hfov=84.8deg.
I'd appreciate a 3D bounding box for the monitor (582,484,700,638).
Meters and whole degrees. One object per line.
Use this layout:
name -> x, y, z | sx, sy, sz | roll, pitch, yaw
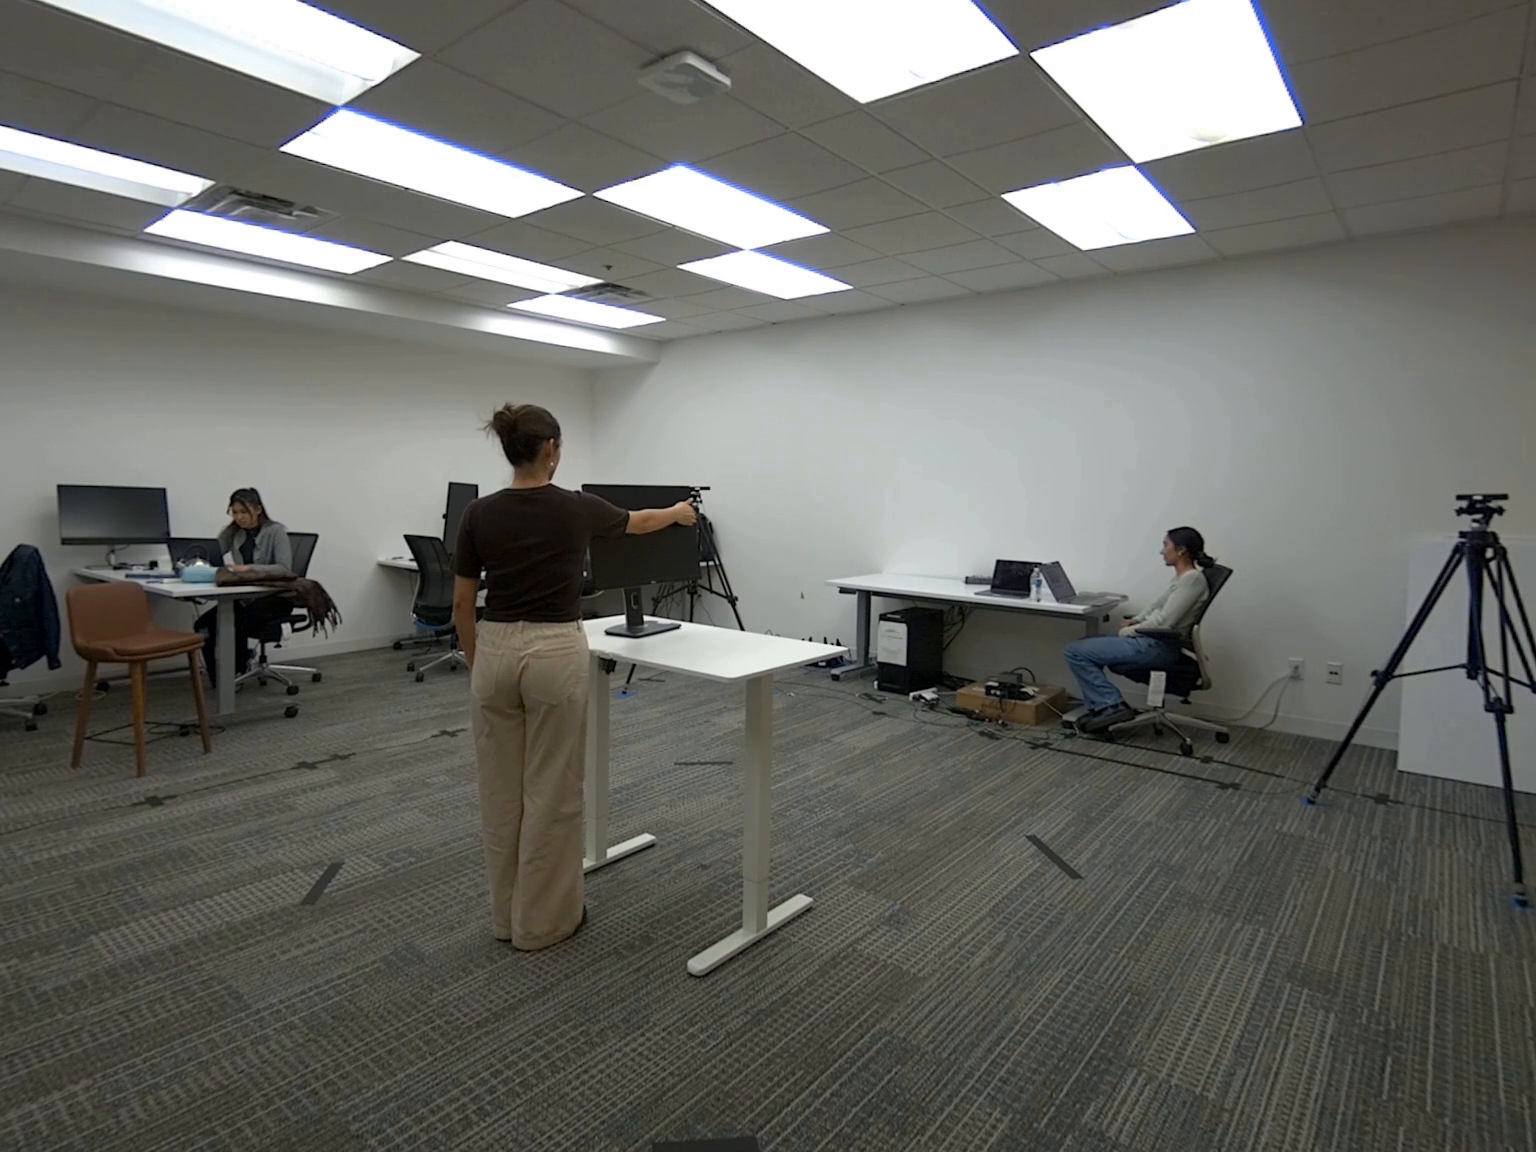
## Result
monitor -> -0.457, -0.059, 2.979 | 0.193, 0.521, 0.524 | 4, 5, 36
